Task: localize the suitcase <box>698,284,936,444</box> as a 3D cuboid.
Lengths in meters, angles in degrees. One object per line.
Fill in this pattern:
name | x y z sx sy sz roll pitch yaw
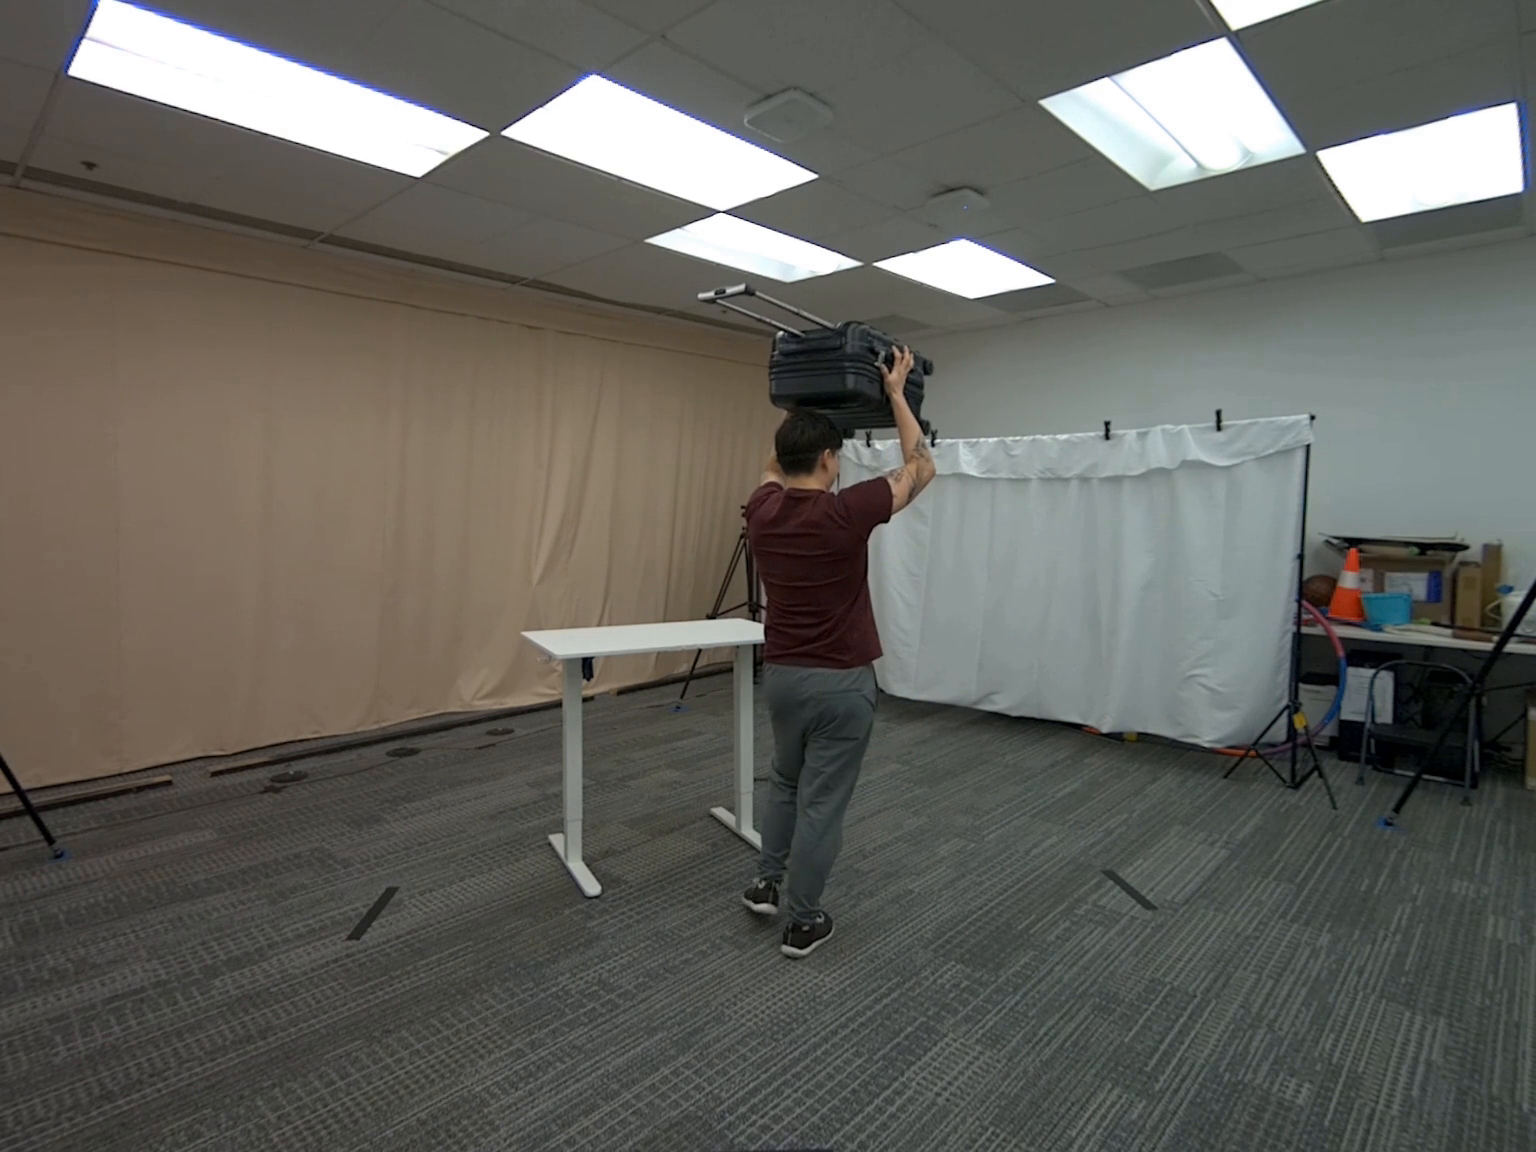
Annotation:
suitcase | 0.162 -0.640 2.602 0.396 0.257 0.948 3 1 37
